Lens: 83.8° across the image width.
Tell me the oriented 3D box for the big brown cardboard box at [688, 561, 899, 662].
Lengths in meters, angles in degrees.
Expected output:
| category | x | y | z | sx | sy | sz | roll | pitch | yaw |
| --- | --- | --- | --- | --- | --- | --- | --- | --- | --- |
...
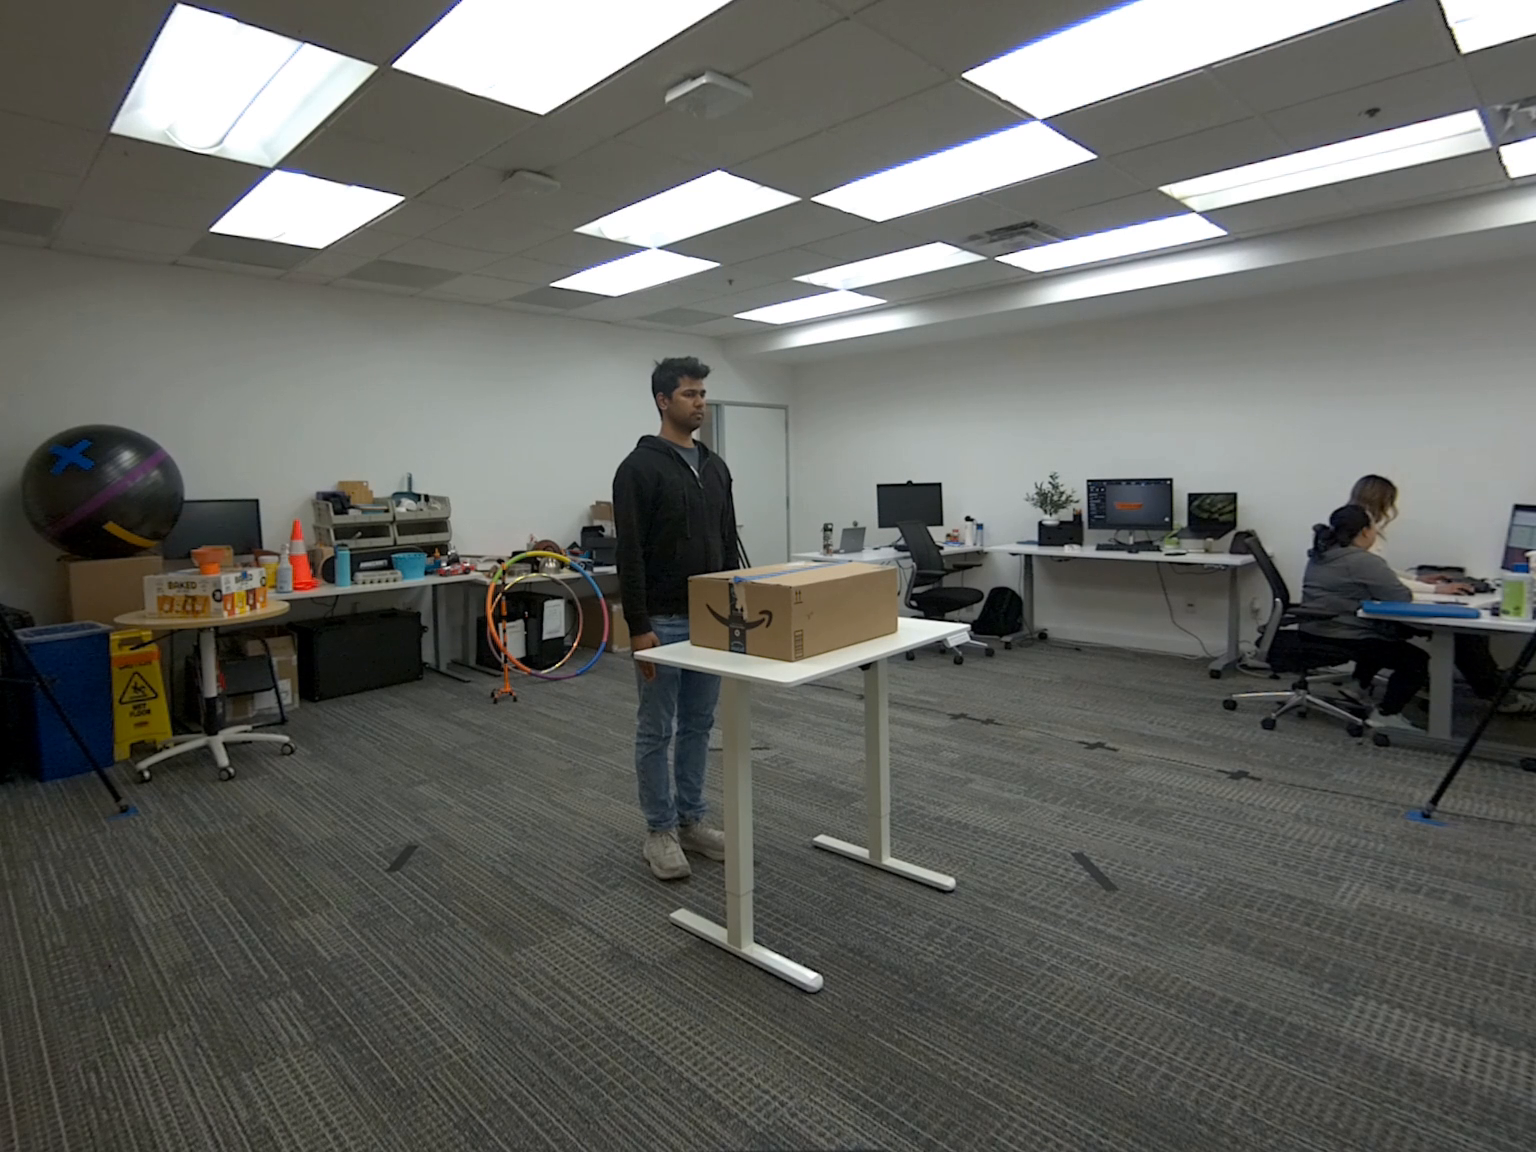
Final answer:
| category | x | y | z | sx | sy | sz | roll | pitch | yaw |
| --- | --- | --- | --- | --- | --- | --- | --- | --- | --- |
| big brown cardboard box | 0.089 | 0.091 | 2.743 | 0.430 | 0.232 | 0.574 | 4 | 10 | 41 |
